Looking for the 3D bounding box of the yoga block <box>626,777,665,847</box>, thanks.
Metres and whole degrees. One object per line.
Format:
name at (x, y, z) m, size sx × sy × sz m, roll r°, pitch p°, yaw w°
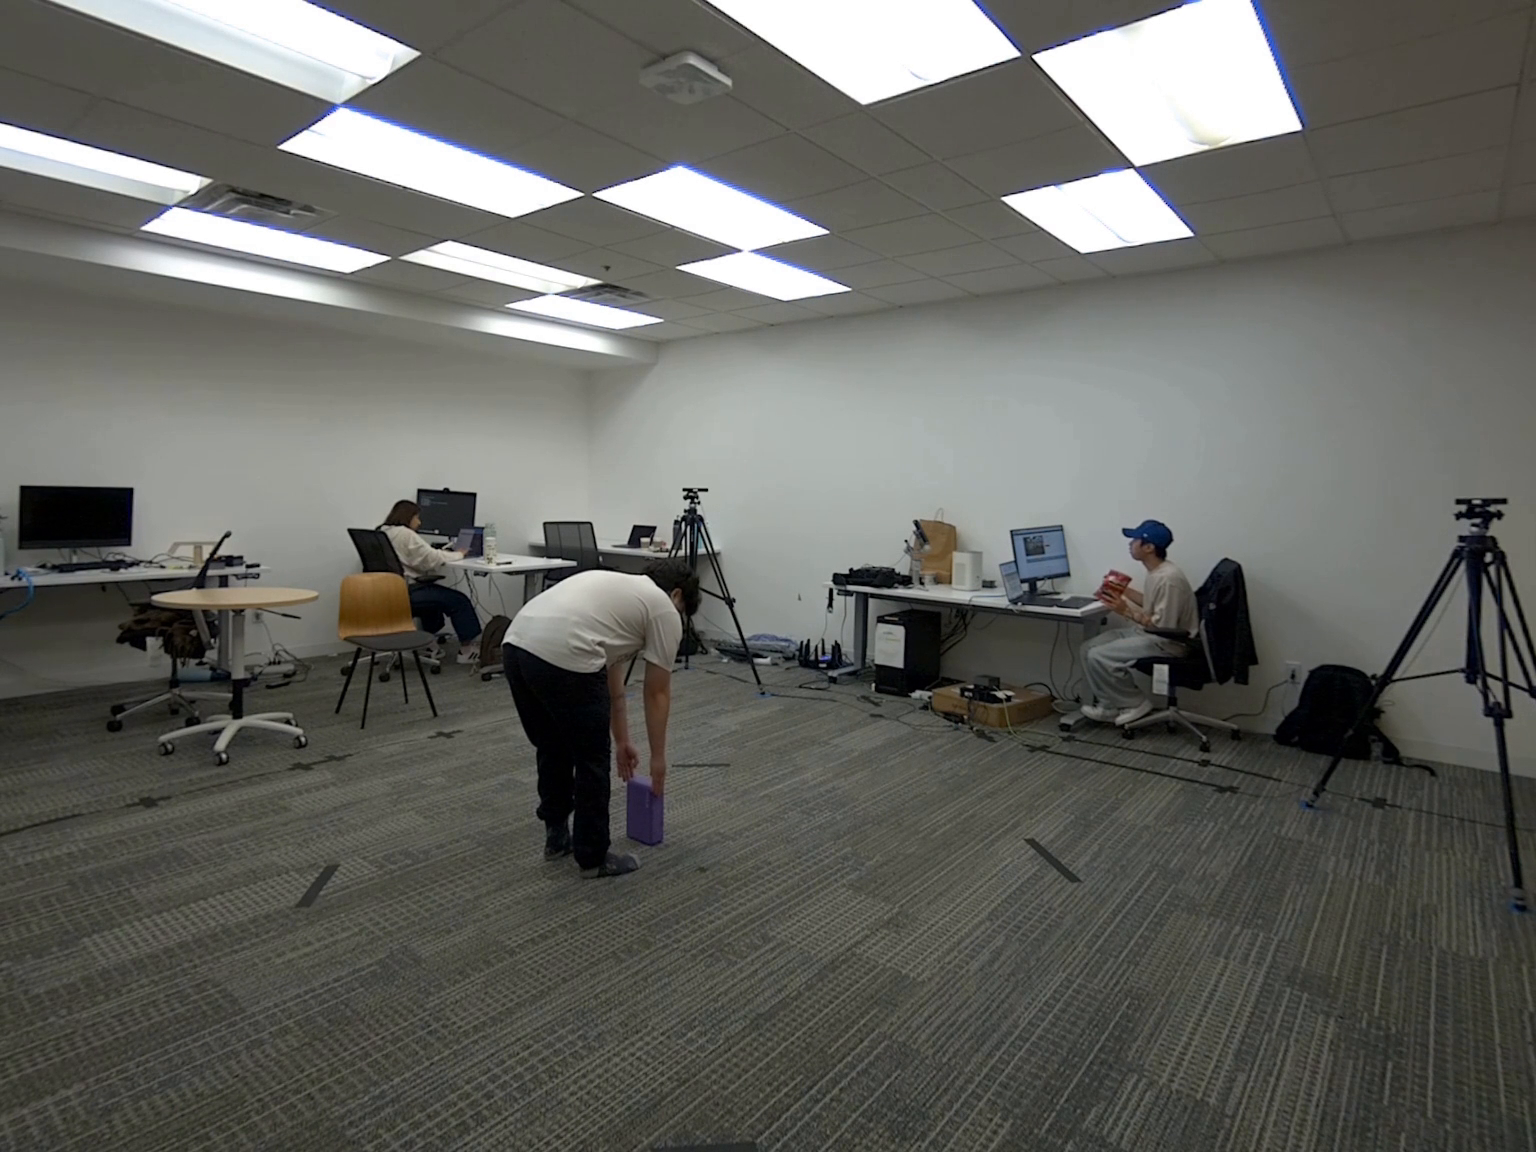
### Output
yoga block at (-0.503, 0.928, 3.369) m, size 0.154 × 0.228 × 0.074 m, roll 2°, pitch 4°, yaw 39°
